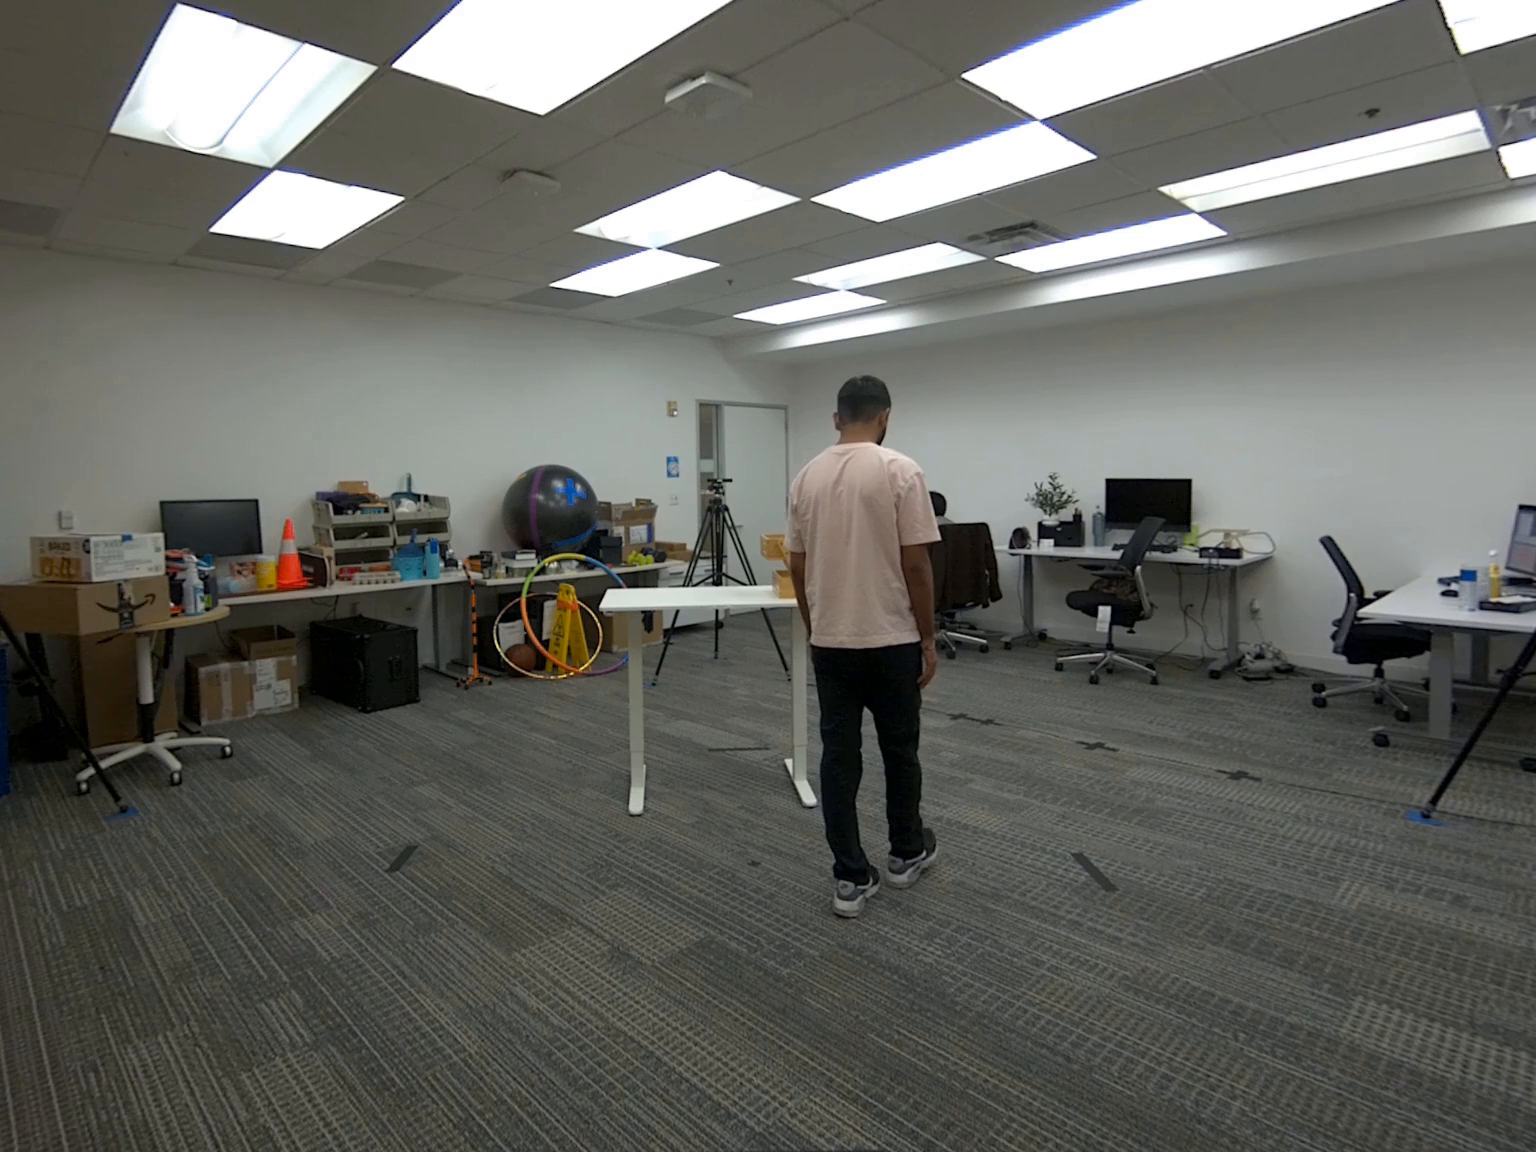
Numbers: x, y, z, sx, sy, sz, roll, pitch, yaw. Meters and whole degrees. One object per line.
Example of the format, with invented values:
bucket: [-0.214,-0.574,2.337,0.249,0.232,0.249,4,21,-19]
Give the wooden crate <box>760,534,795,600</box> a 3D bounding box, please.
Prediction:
wooden crate: [0.136,-0.050,3.833,0.301,0.272,0.327,-1,5,-4]
